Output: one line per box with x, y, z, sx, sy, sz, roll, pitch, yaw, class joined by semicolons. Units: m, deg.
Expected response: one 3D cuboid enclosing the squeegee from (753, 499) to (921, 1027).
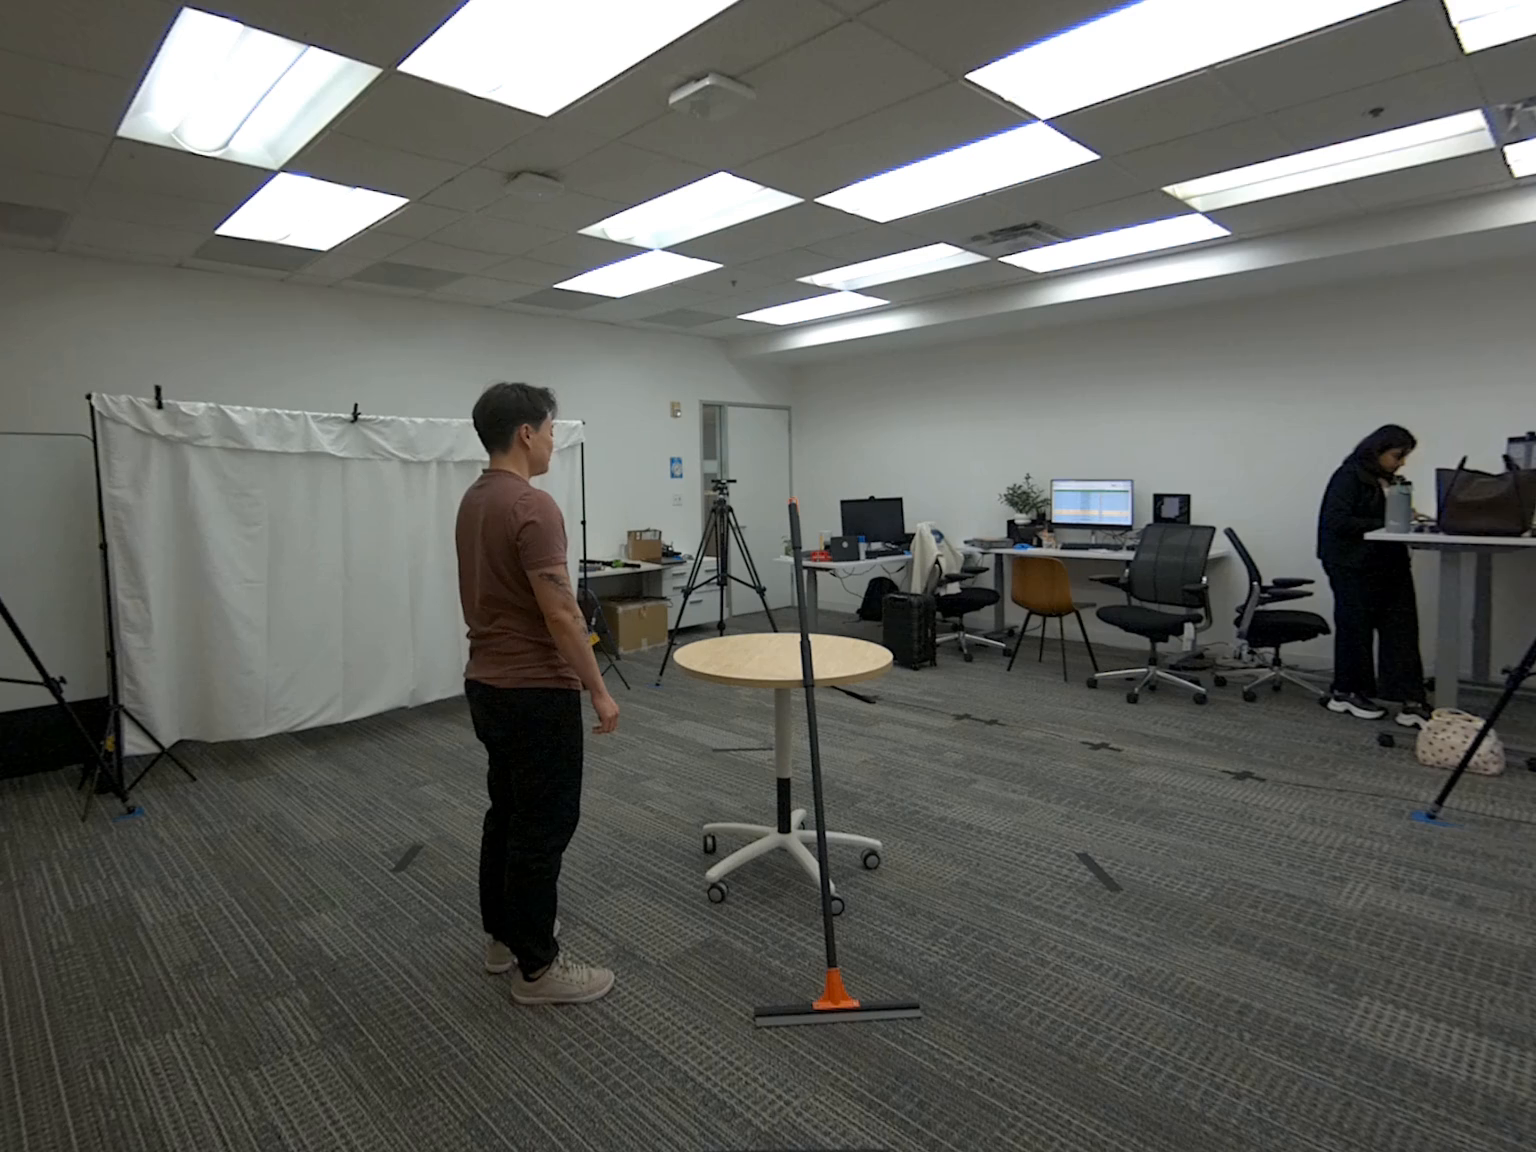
0.141;0.445;2.554;0.435;1.571;0.052;0;-25;-6;squeegee
